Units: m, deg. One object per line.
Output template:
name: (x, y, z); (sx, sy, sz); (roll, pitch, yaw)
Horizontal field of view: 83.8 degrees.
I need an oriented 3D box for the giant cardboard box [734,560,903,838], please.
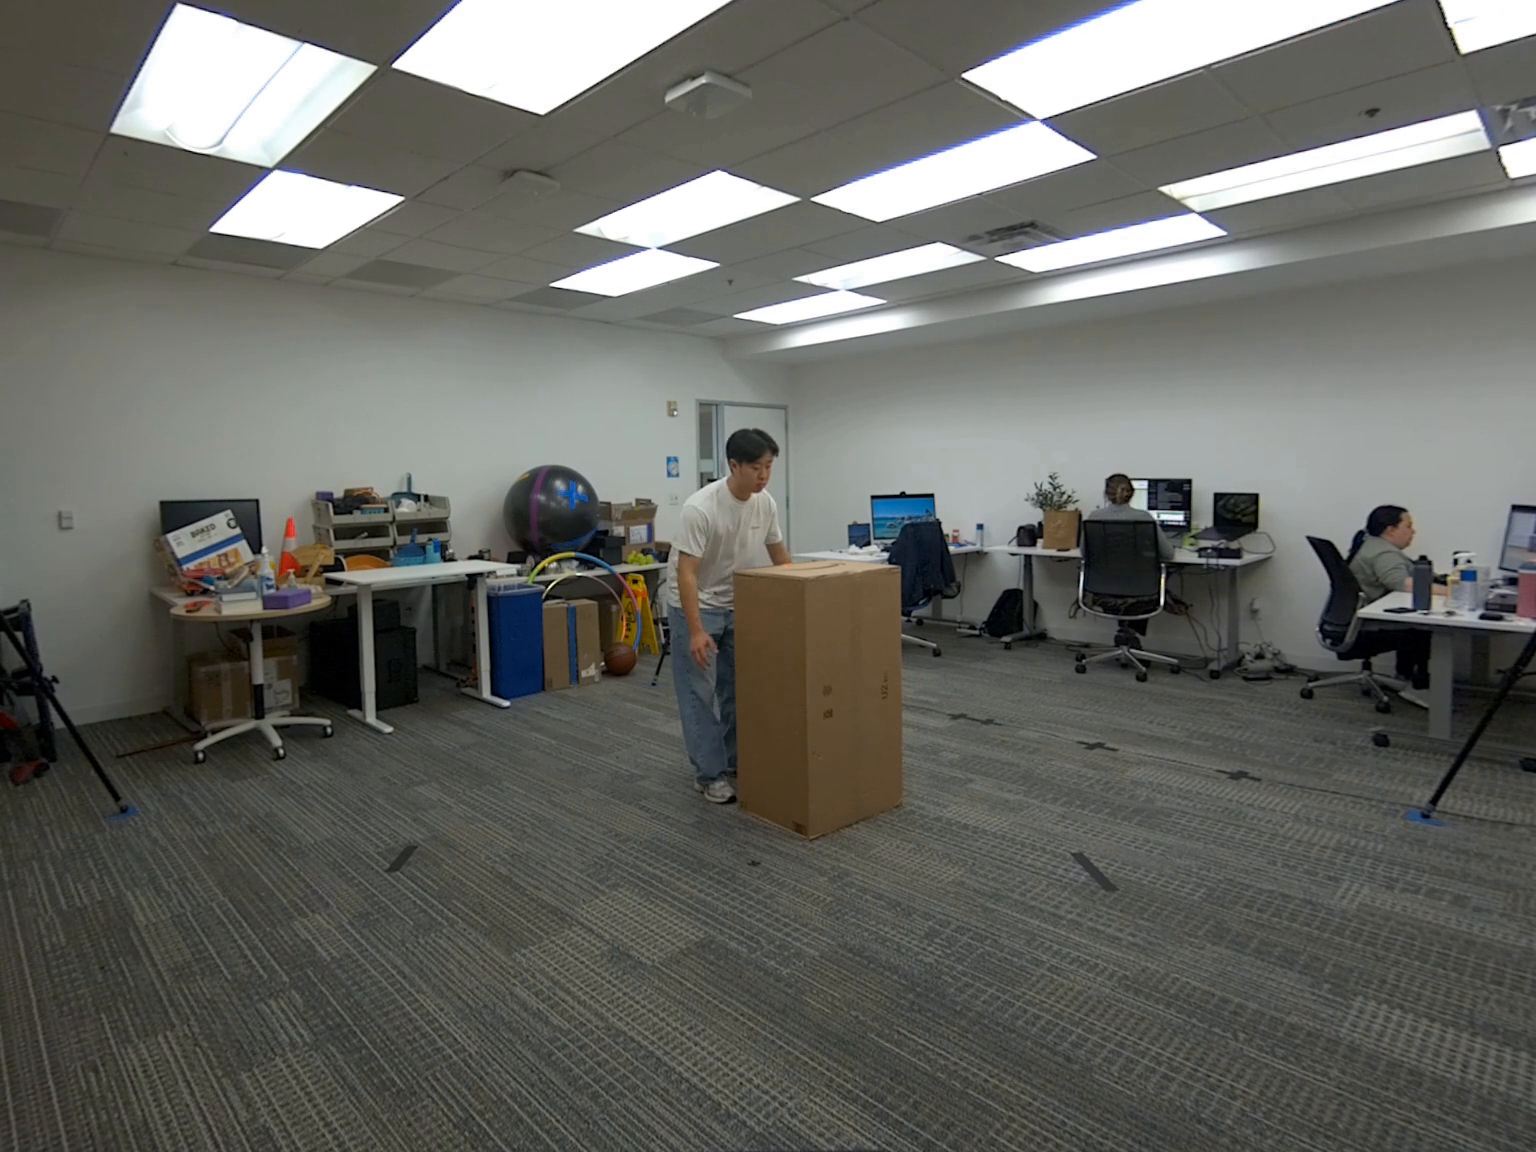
giant cardboard box: (0.216, 0.475, 3.596); (0.562, 1.022, 0.439); (-5, 5, -40)
